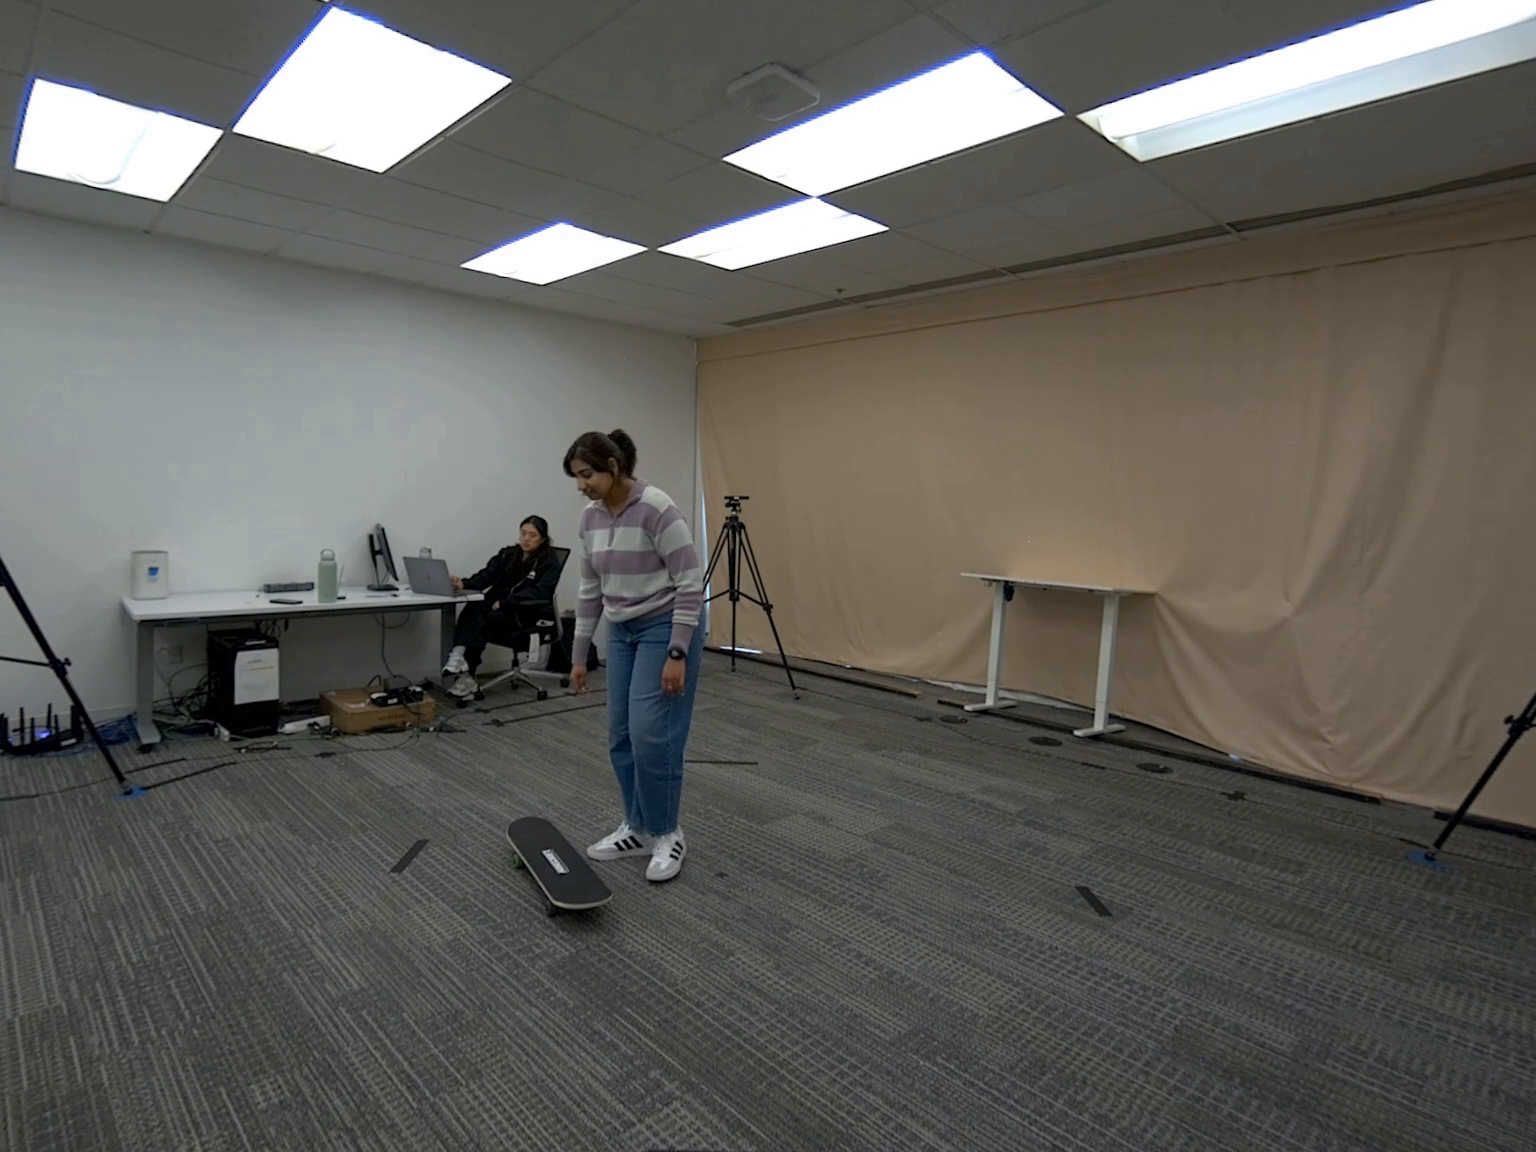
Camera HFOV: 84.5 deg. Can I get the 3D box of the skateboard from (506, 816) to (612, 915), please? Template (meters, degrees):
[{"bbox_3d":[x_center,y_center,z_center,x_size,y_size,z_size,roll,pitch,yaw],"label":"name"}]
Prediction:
[{"bbox_3d":[-0.762,1.048,2.985,0.189,0.110,0.804,-1,6,-30],"label":"skateboard"}]
